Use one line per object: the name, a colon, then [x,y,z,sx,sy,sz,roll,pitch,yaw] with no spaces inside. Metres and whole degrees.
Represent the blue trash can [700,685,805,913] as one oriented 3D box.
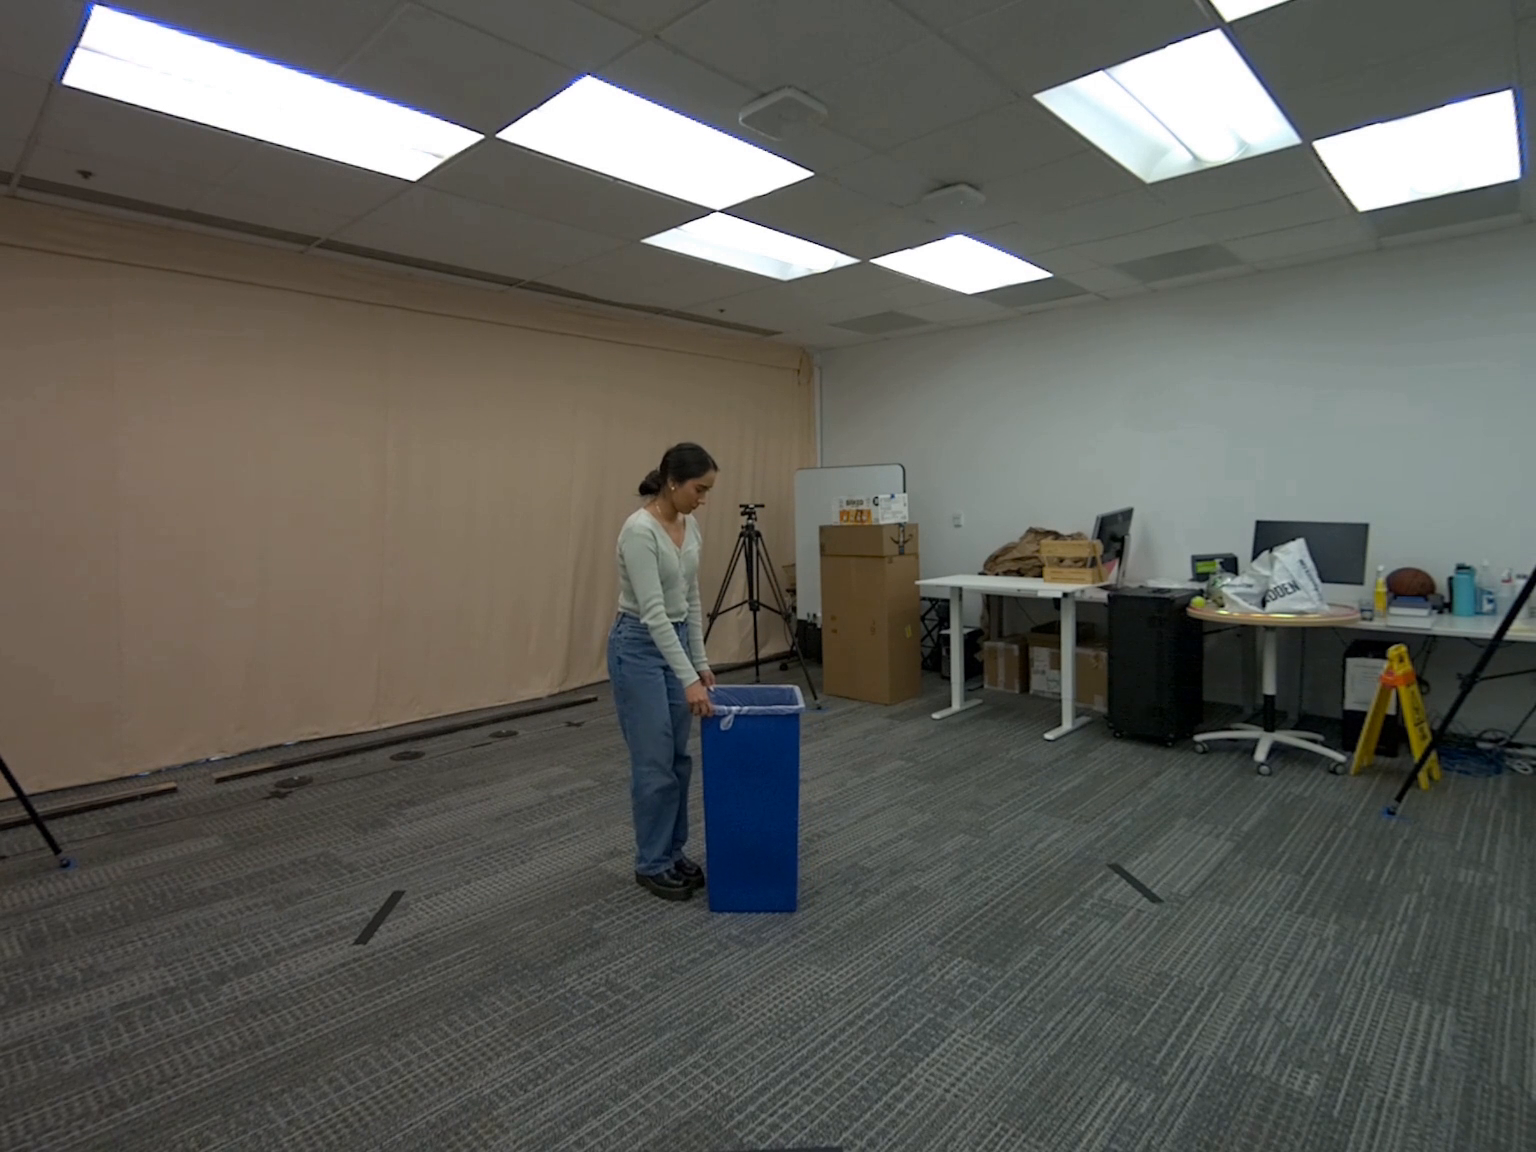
blue trash can: [-0.060,0.783,3.009,0.378,0.712,0.374,0,3,0]
